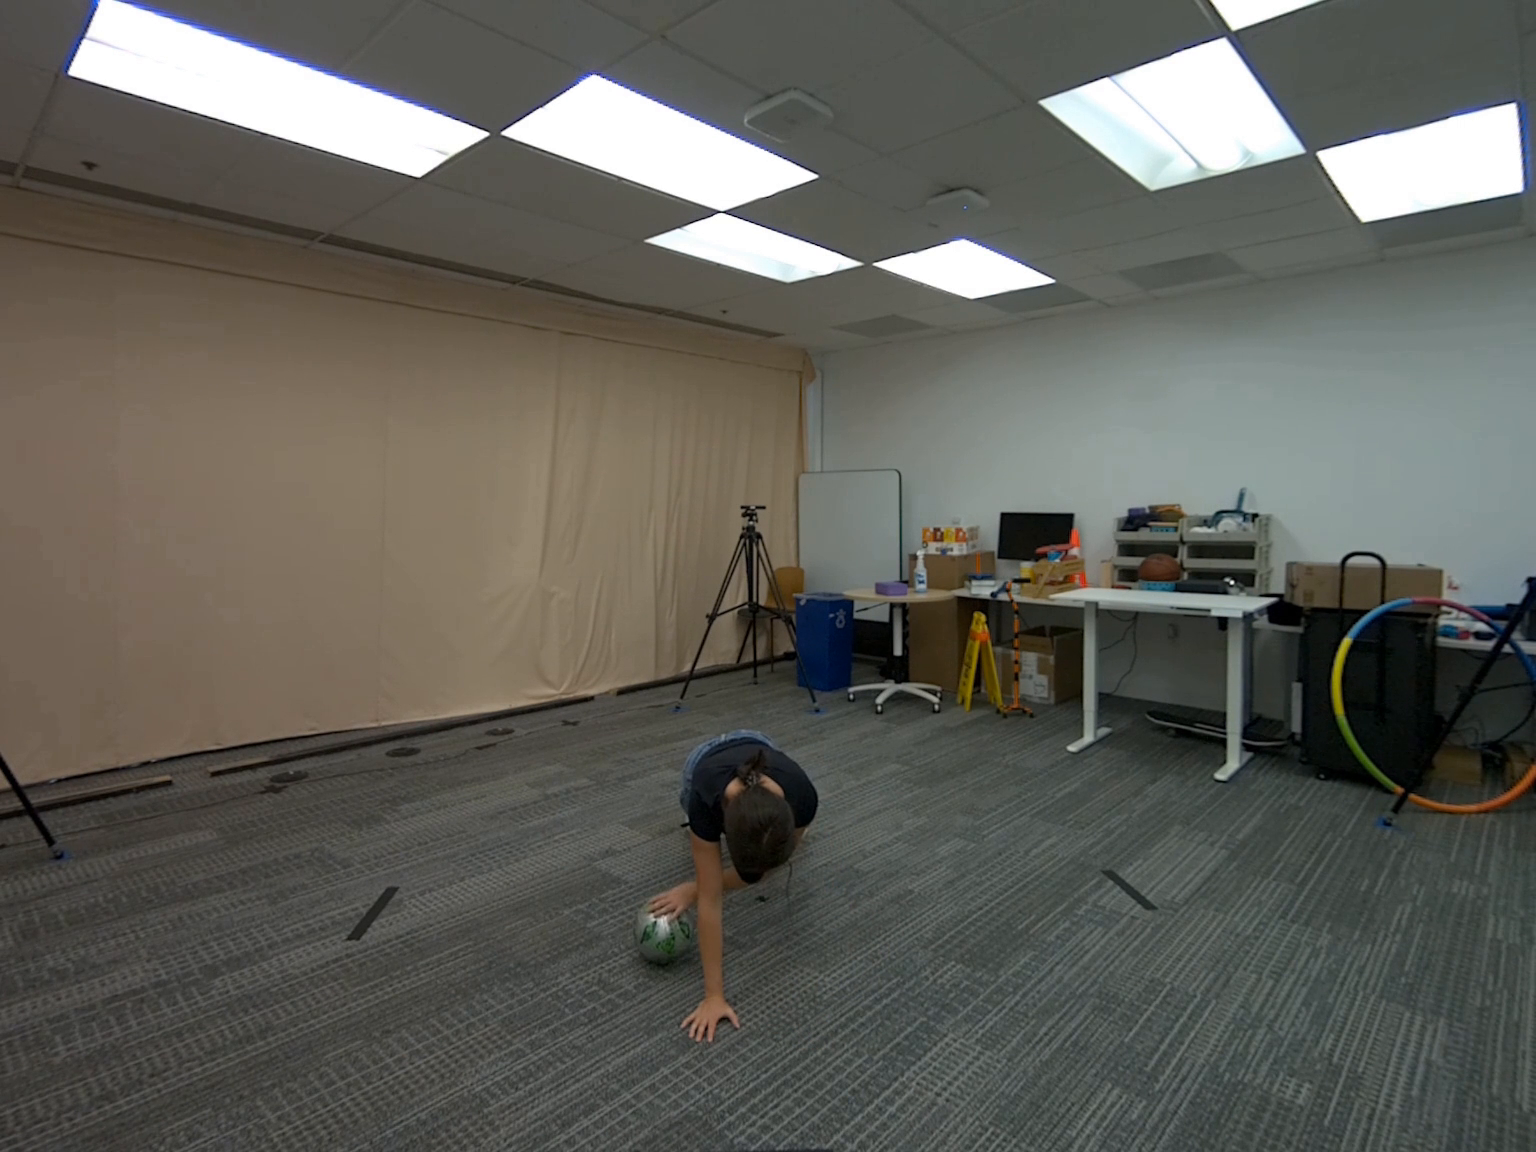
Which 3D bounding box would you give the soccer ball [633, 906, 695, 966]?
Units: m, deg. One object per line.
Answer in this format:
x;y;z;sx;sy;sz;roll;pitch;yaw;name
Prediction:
-0.313;1.076;2.586;0.187;0.187;0.188;0;4;-2;soccer ball
